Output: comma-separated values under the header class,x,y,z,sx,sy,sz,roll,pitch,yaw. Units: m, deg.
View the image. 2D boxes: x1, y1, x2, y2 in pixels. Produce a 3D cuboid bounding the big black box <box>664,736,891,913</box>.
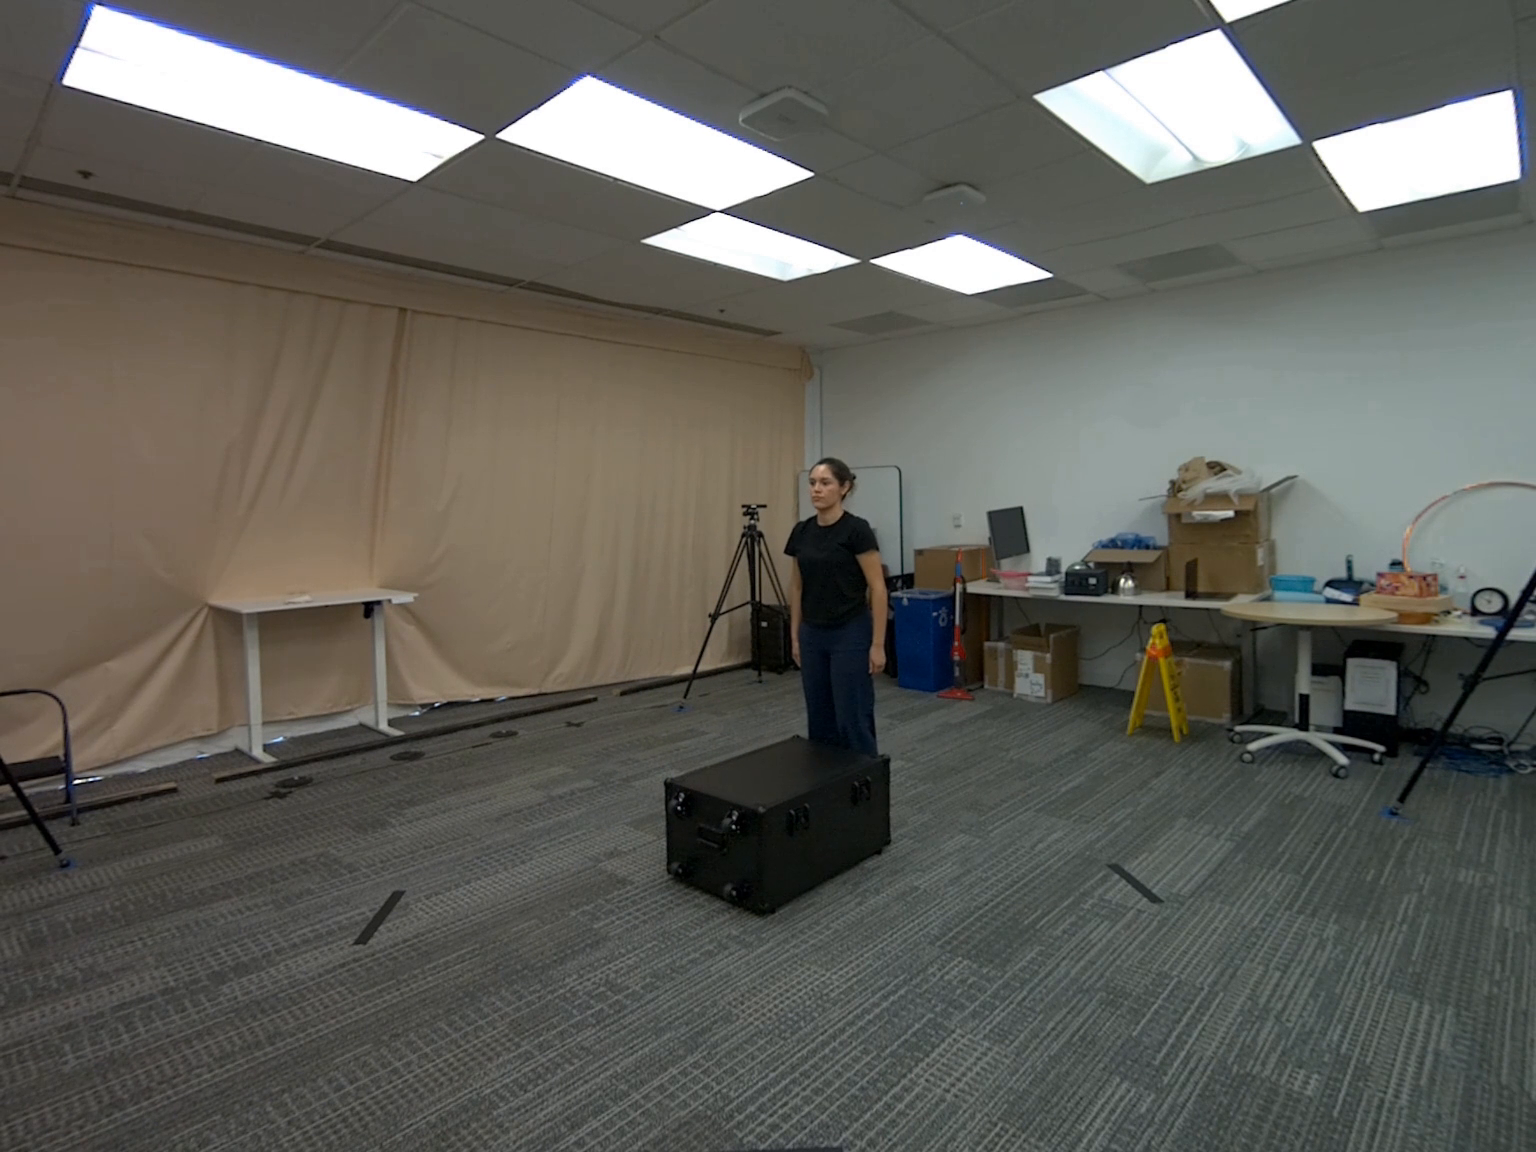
class,x,y,z,sx,sy,sz,roll,pitch,yaw
big black box,0.045,0.913,3.222,0.538,0.395,0.836,3,6,42
